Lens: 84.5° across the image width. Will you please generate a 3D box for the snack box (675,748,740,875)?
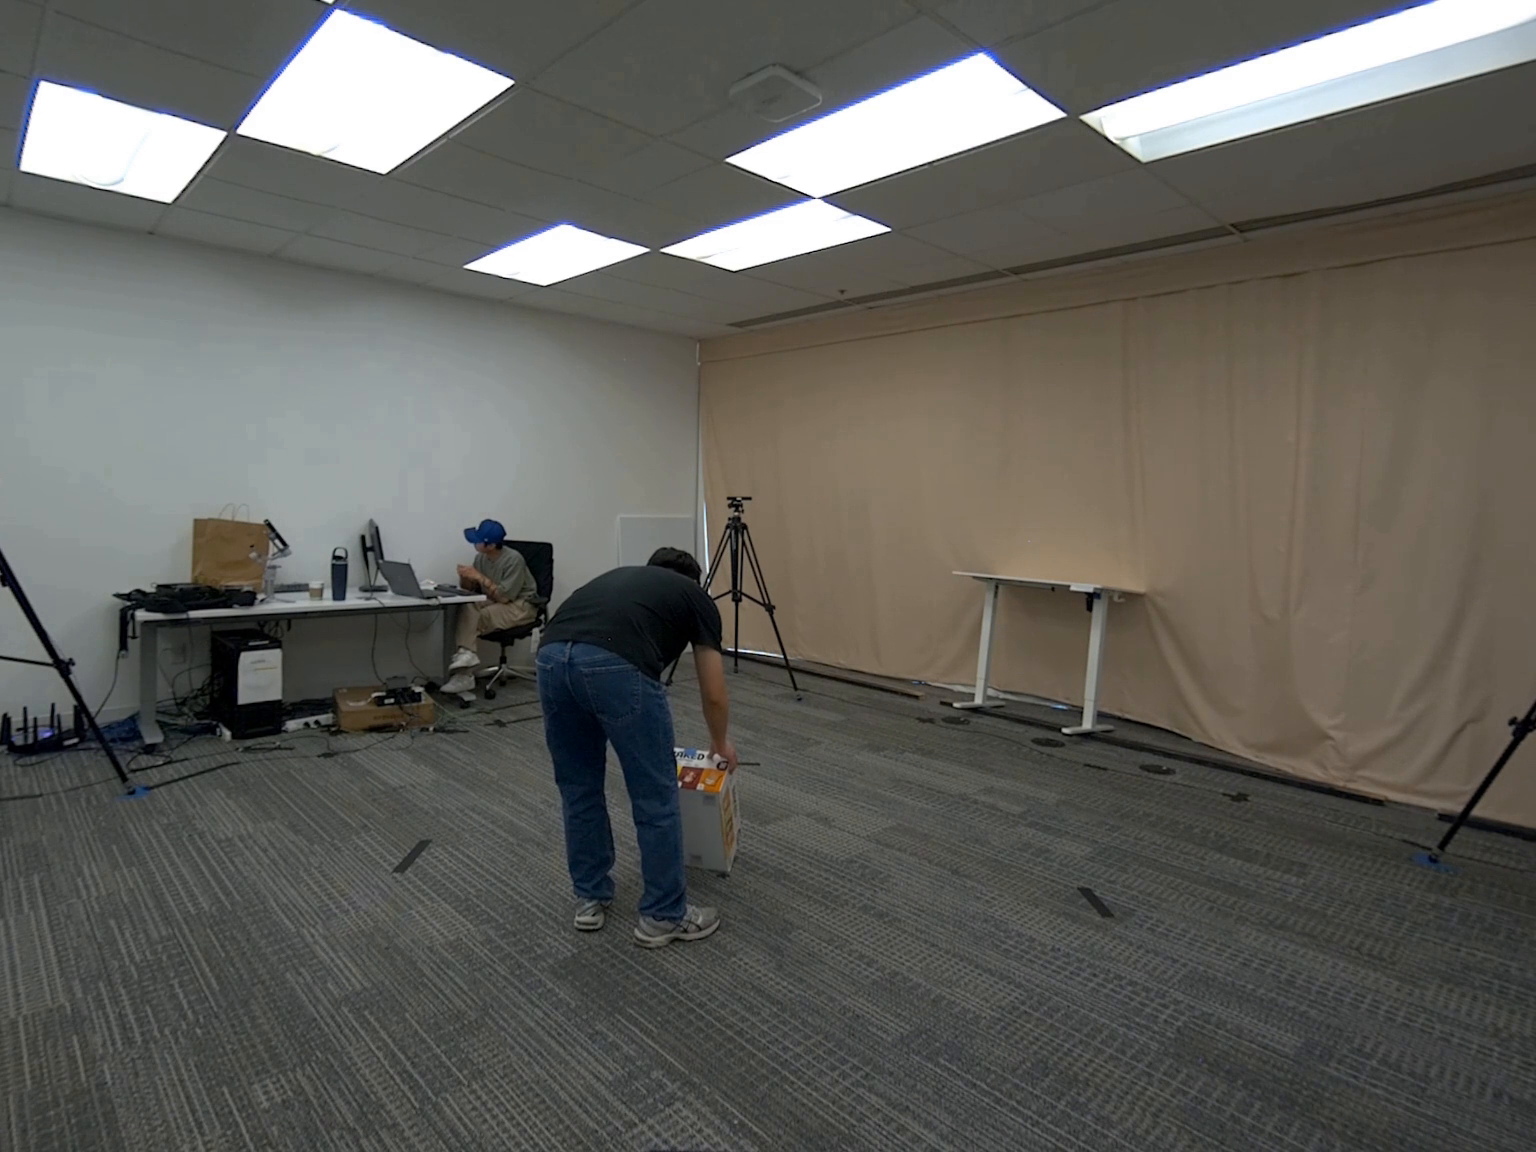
[{"bbox_3d":[-0.304,0.877,3.166,0.344,0.397,0.207,3,29,14],"label":"snack box"}]
